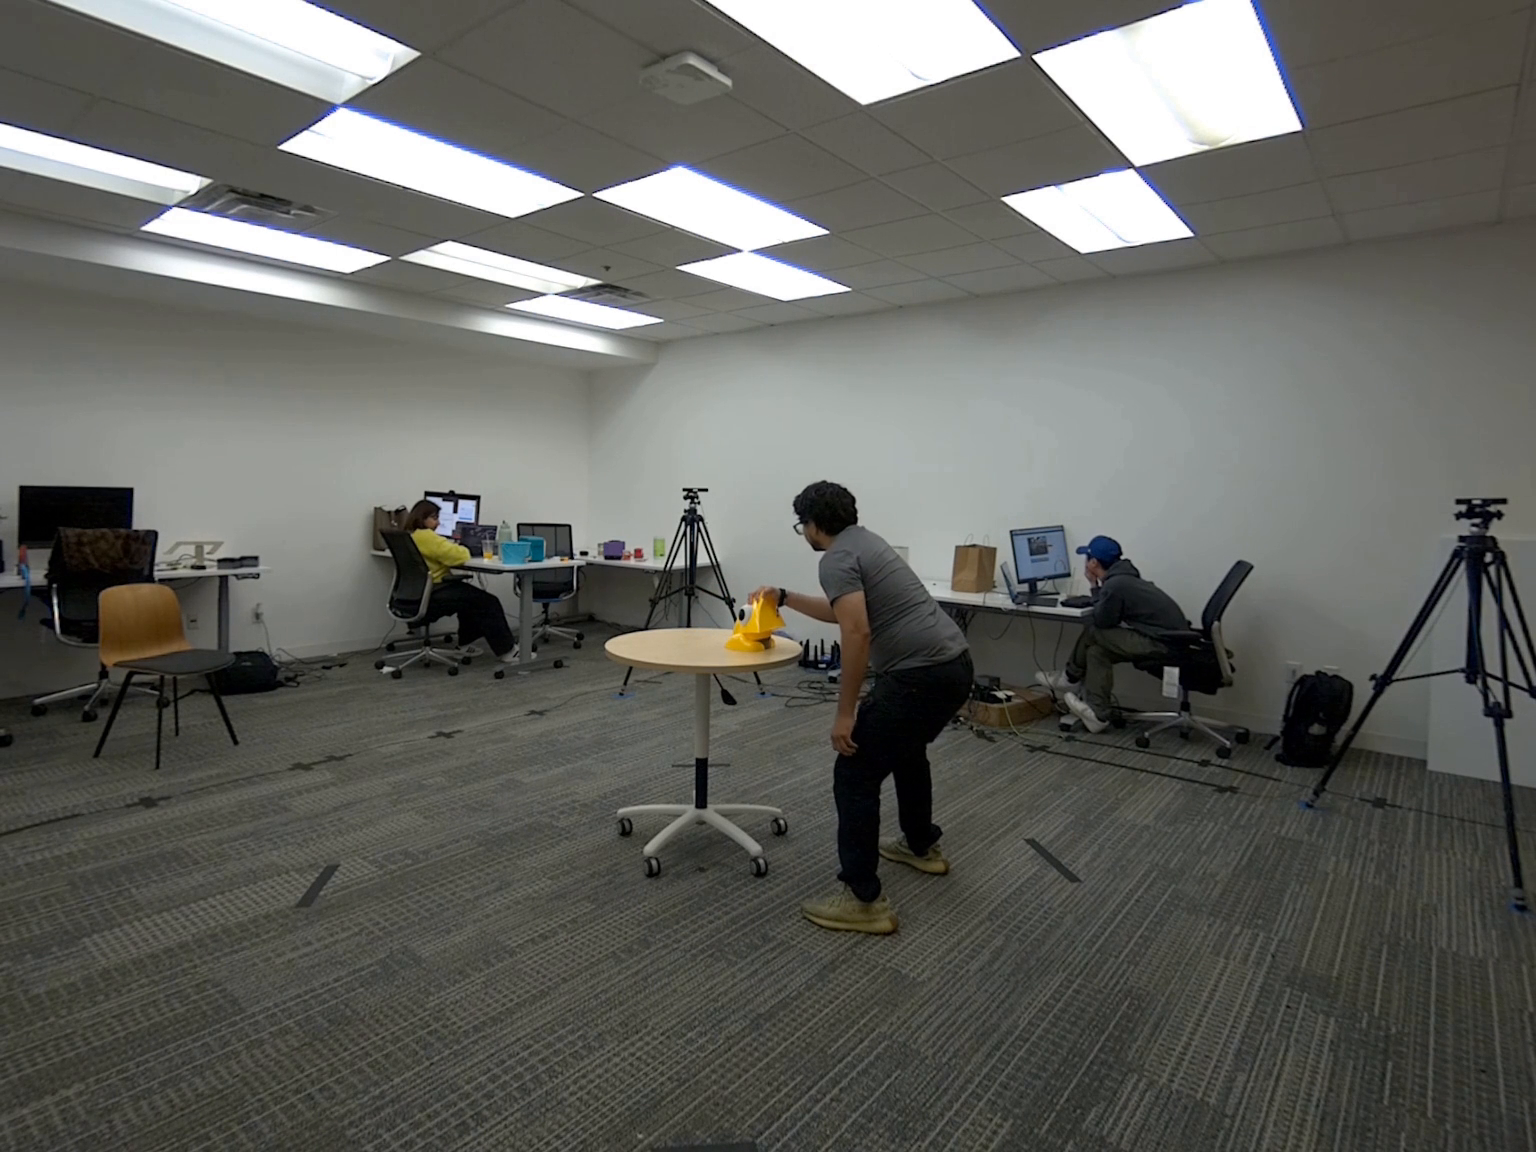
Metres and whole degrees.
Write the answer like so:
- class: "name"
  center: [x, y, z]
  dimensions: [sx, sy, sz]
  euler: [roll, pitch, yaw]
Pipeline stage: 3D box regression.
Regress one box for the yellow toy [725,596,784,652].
- class: "yellow toy"
  center: [-0.070, 0.159, 3.296]
  dimensions: [0.199, 0.230, 0.199]
  euler: [3, 4, 32]
